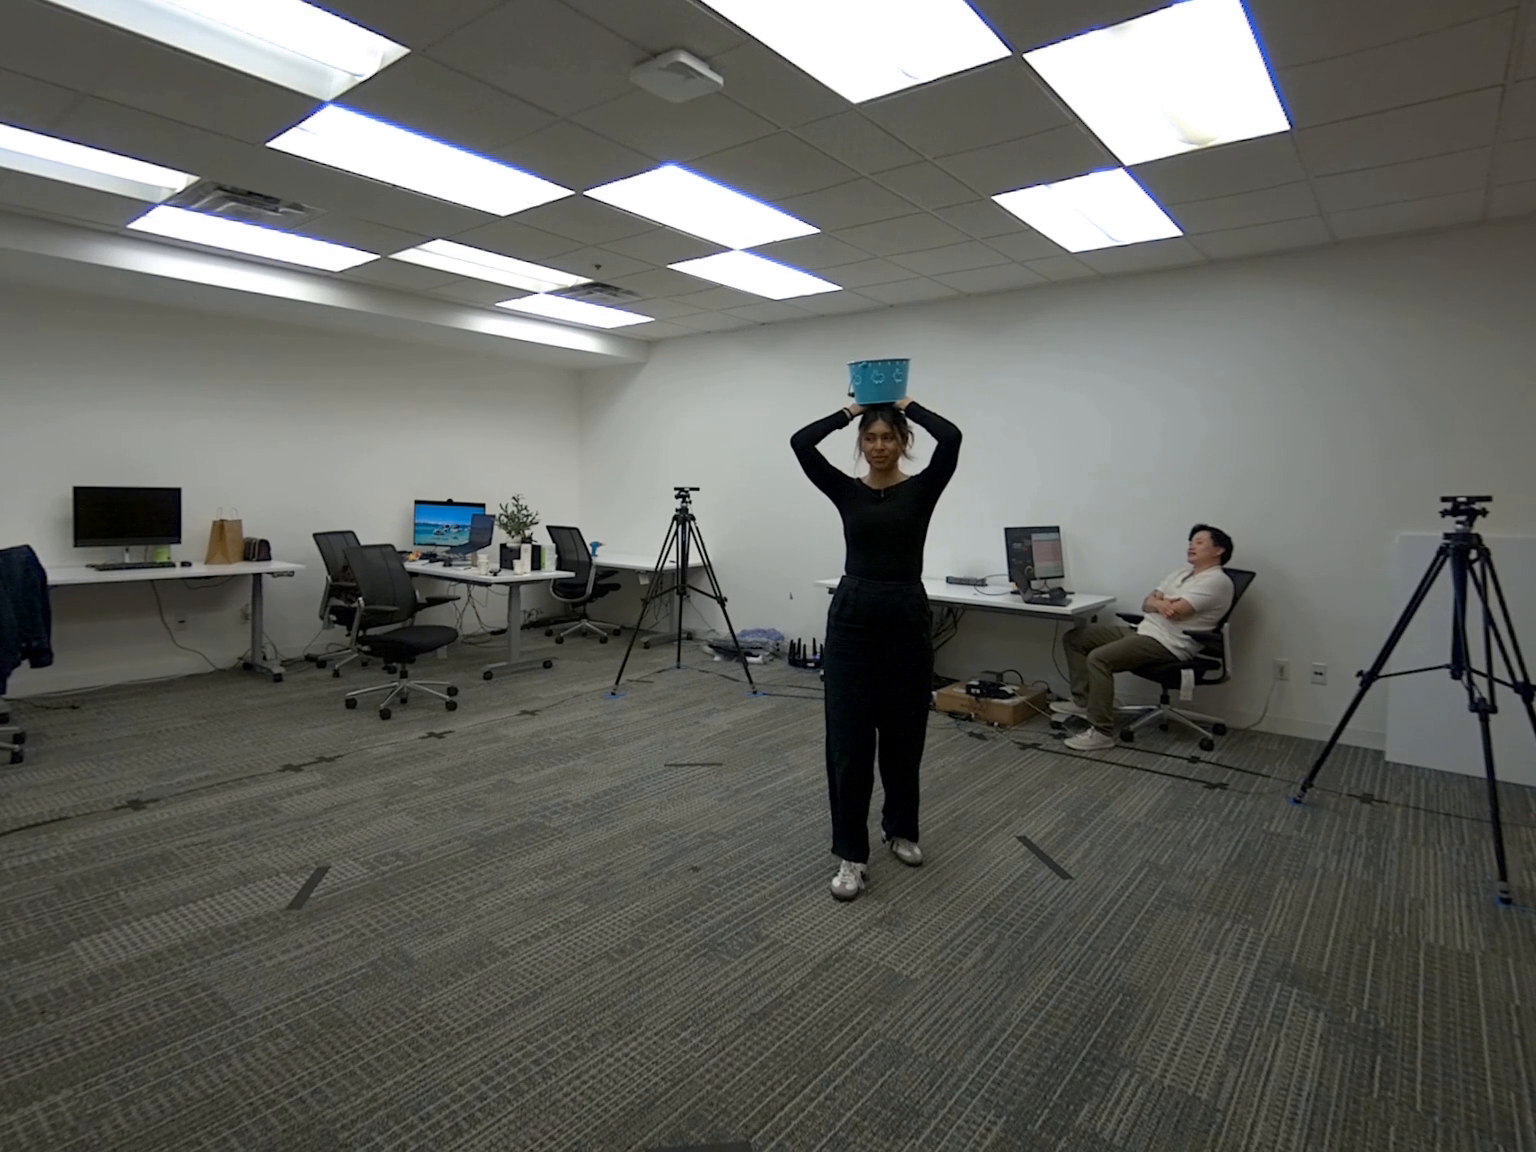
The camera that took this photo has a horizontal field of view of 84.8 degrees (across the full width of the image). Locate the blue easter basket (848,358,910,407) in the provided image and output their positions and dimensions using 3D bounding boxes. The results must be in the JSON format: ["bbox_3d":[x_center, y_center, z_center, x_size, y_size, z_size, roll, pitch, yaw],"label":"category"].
[{"bbox_3d":[0.406,-0.711,3.121,0.243,0.154,0.246,-2,11,-2],"label":"blue easter basket"}]
